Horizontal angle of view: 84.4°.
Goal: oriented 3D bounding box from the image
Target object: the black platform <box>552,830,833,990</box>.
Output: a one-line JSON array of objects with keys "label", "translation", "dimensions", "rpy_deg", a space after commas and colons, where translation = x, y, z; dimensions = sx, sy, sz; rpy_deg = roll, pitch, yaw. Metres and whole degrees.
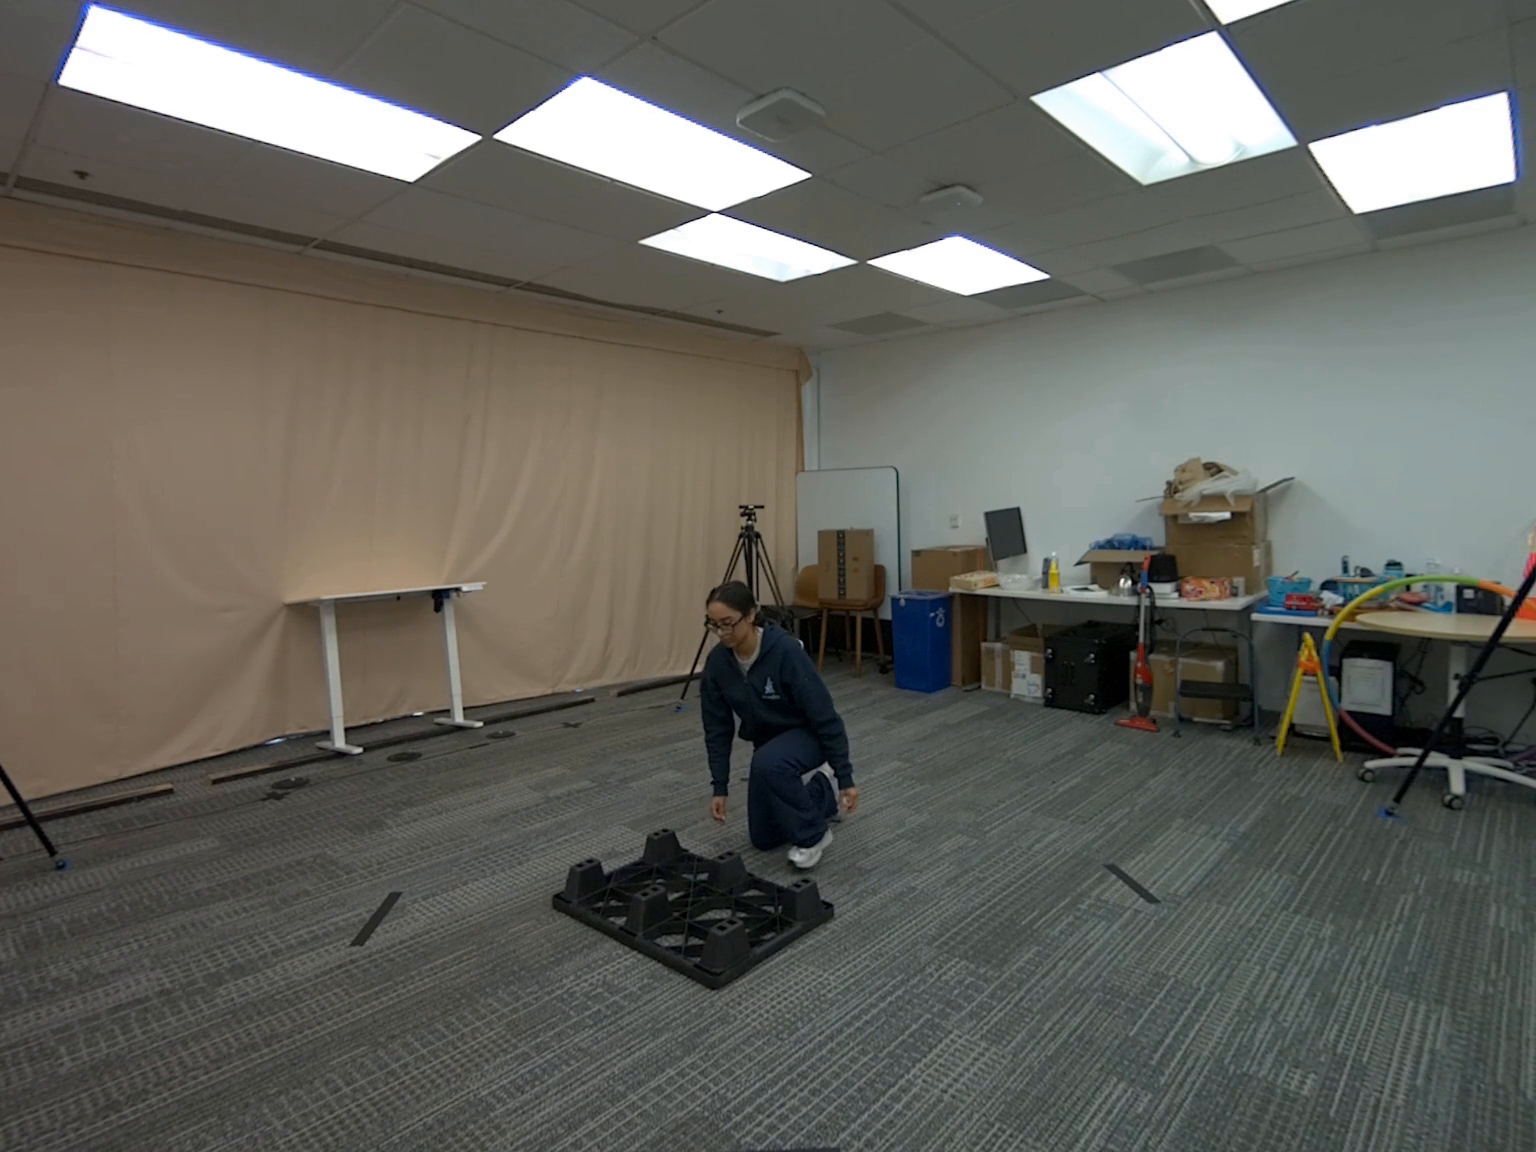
[{"label": "black platform", "translation": [-0.273, 1.091, 2.892], "dimensions": [0.832, 0.143, 0.587], "rpy_deg": [3, 6, 41]}]
